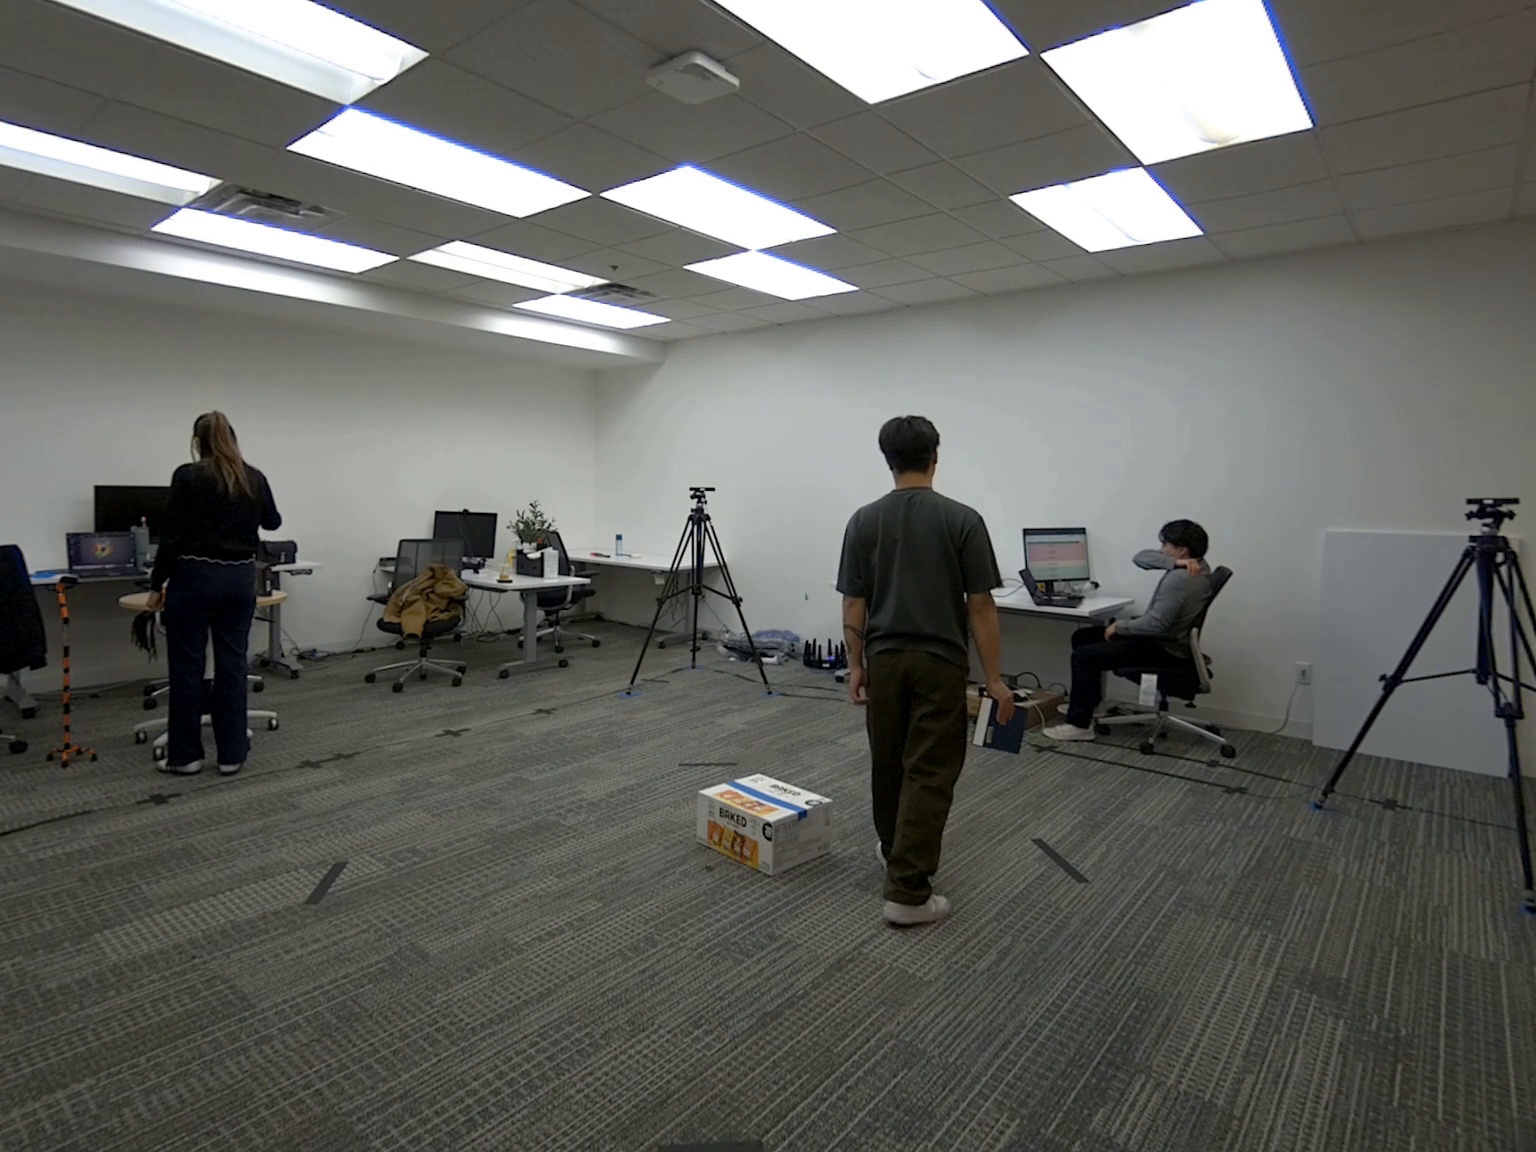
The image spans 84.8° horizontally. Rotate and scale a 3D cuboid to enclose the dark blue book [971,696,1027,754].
[{"bbox_3d":[0.773,0.499,2.851,0.236,0.164,0.047,20,-9,-40],"label":"dark blue book"}]
